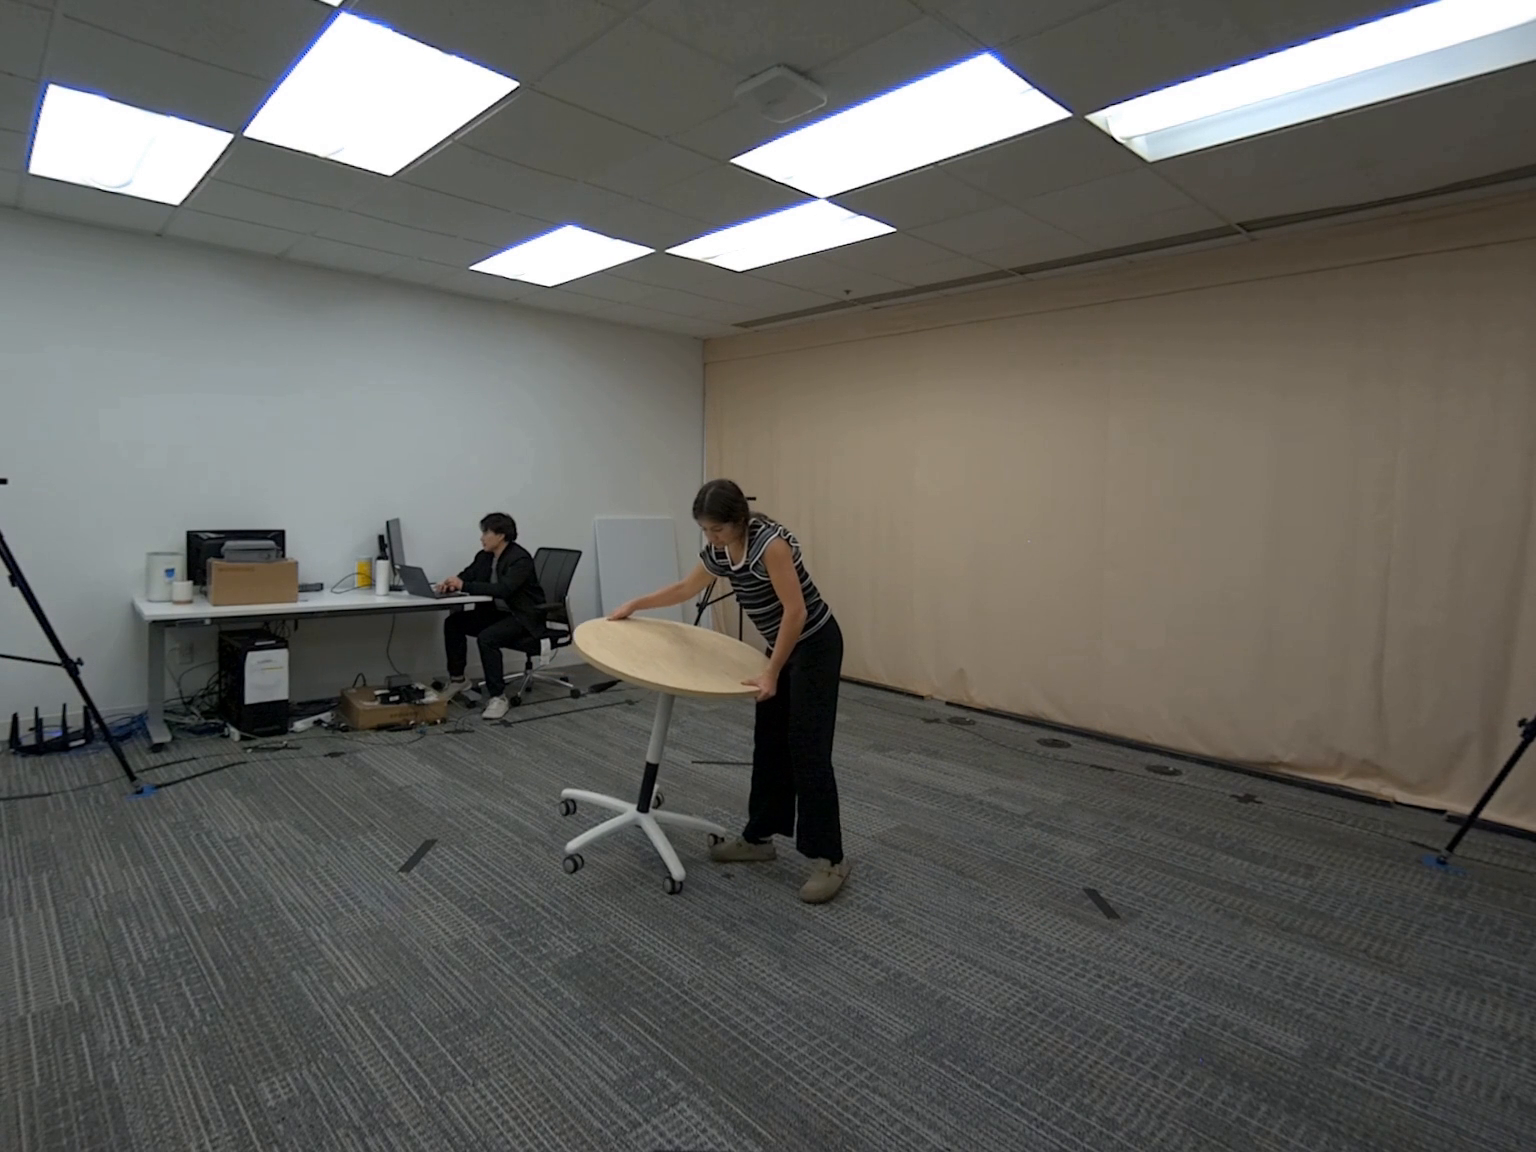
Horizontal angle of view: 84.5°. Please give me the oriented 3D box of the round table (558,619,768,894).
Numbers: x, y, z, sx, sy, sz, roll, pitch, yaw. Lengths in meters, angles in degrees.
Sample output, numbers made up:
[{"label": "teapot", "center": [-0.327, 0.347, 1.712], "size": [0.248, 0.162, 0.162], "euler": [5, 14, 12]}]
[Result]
[{"label": "round table", "center": [-0.425, 0.652, 3.168], "size": [0.762, 0.789, 0.770], "euler": [12, 10, -4]}]
